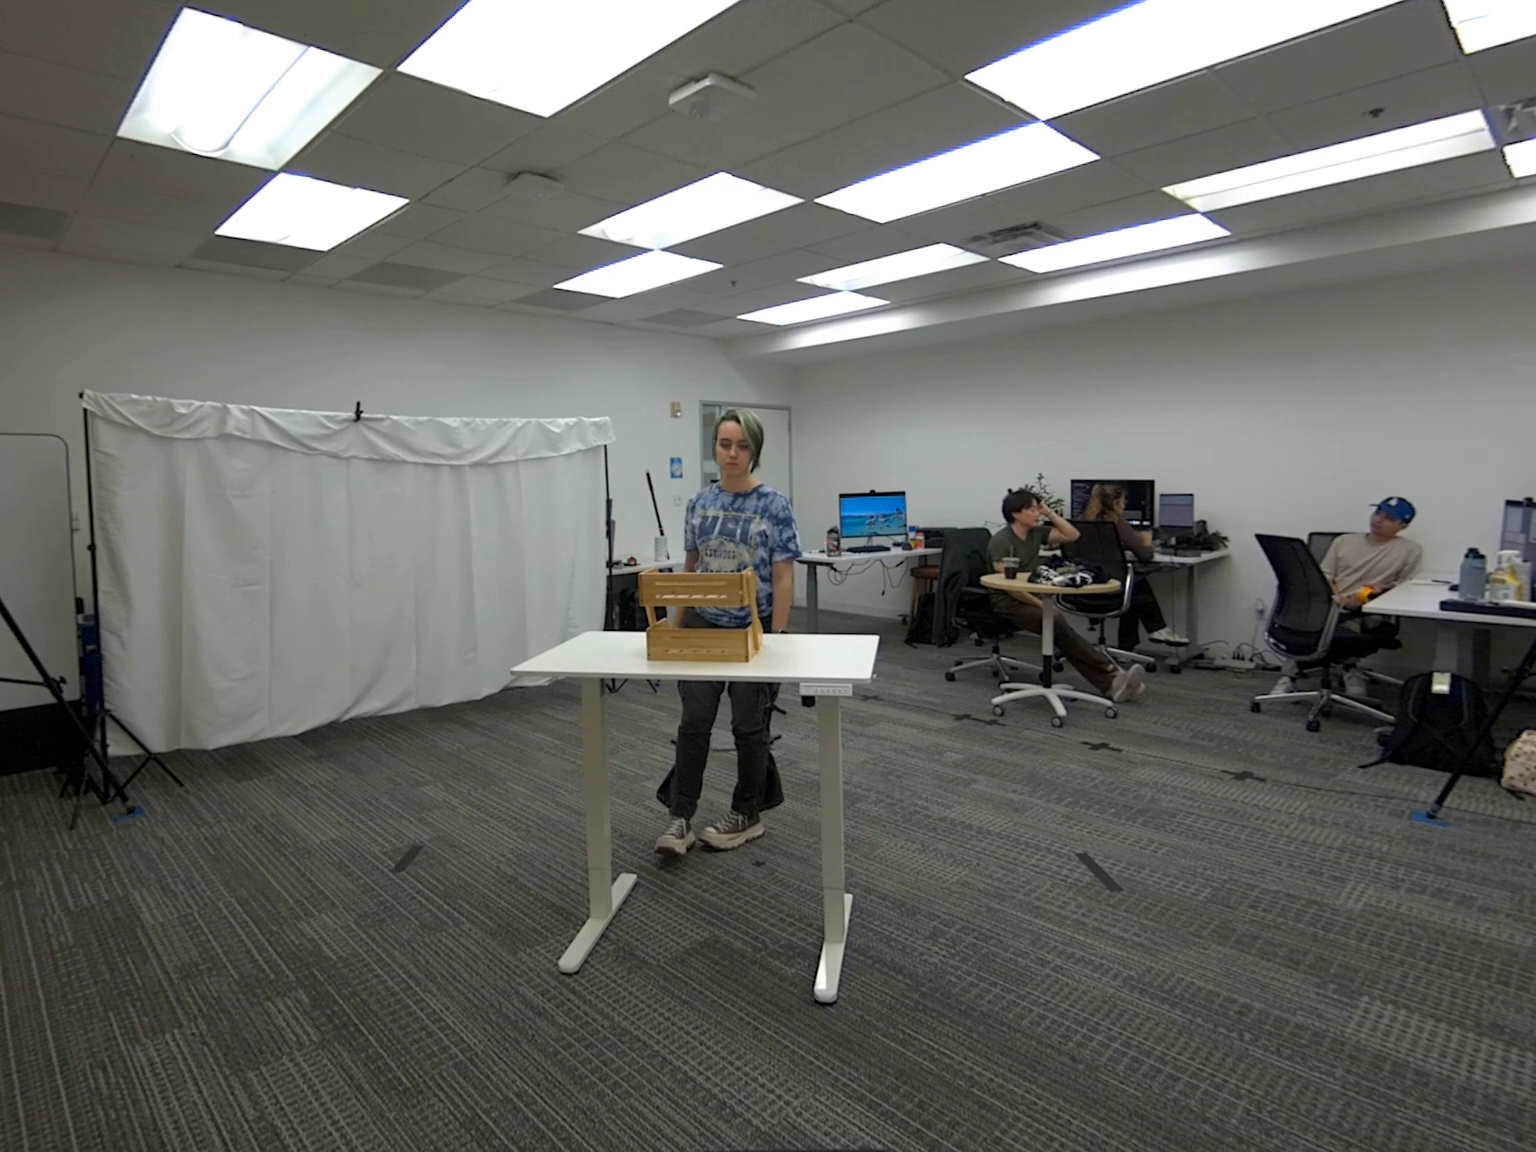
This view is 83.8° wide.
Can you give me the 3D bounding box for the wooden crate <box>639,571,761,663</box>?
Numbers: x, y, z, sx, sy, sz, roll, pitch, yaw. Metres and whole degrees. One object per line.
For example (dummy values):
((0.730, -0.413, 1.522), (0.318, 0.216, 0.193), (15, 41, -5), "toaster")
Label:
((-0.192, 0.104, 2.534), (0.328, 0.272, 0.300), (-1, 7, 11), "wooden crate")
